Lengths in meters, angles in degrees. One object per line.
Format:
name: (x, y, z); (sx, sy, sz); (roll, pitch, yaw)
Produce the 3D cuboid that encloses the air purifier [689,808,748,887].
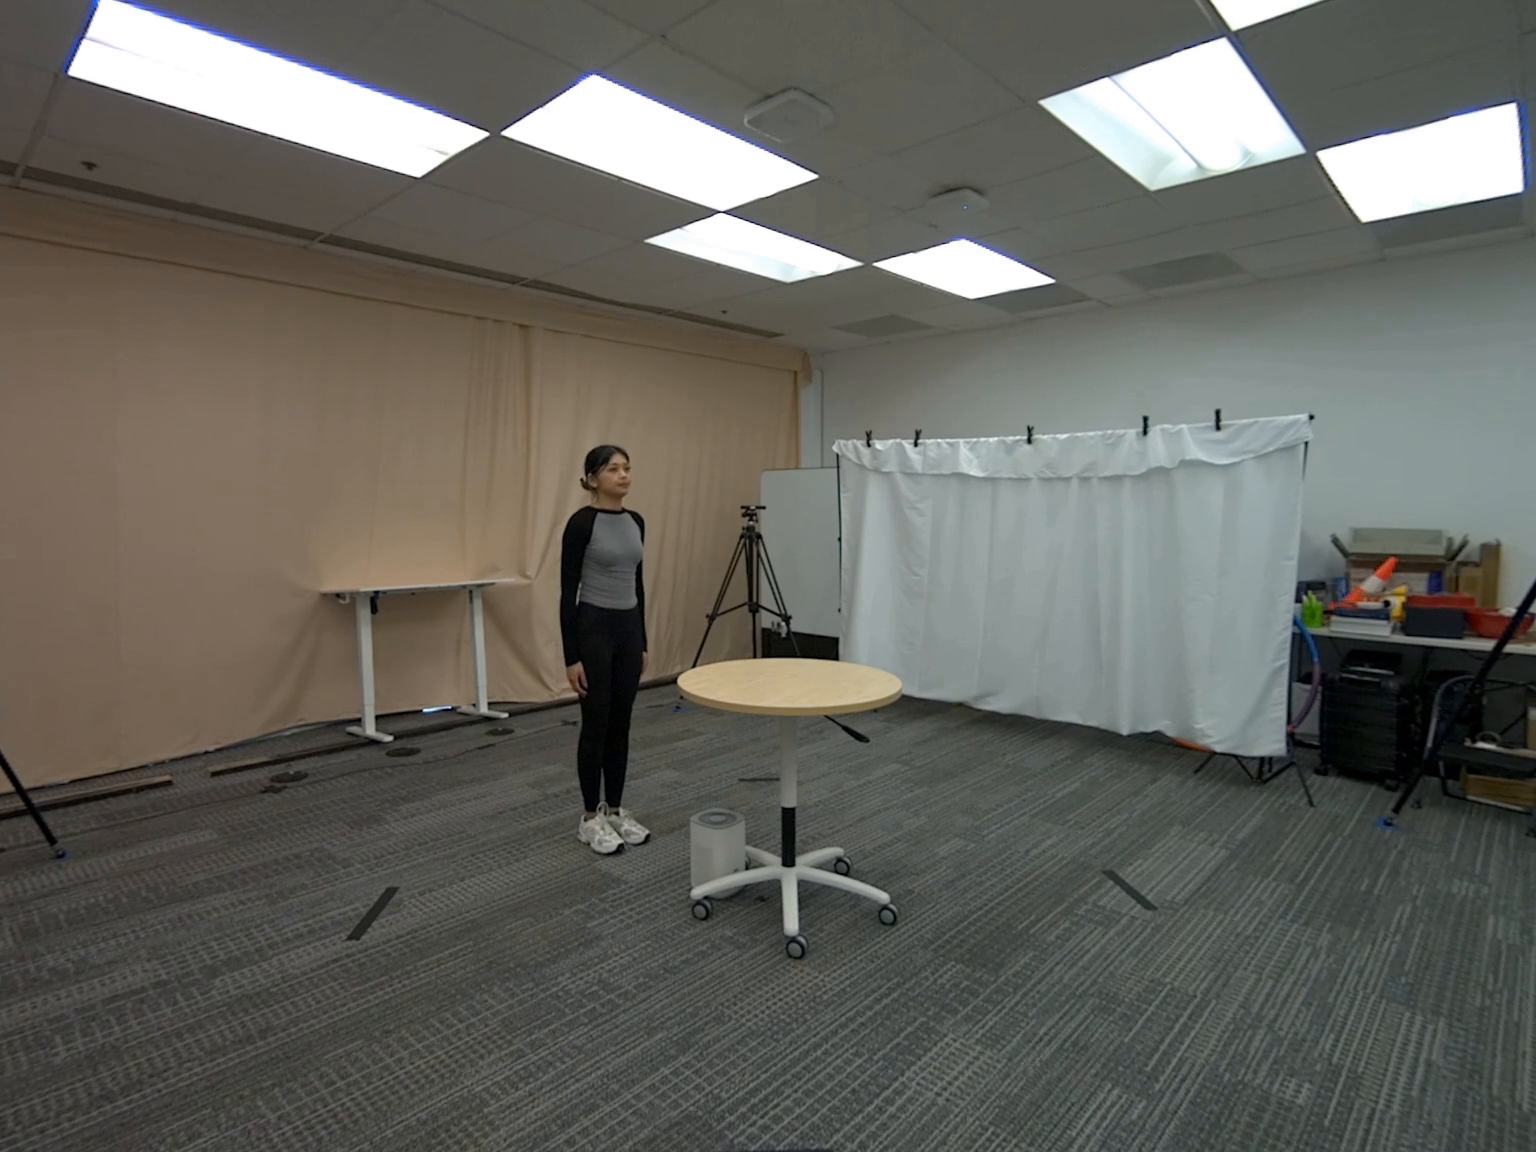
air purifier: (-0.184, 1.004, 3.050); (0.177, 0.265, 0.166); (3, 5, 39)
